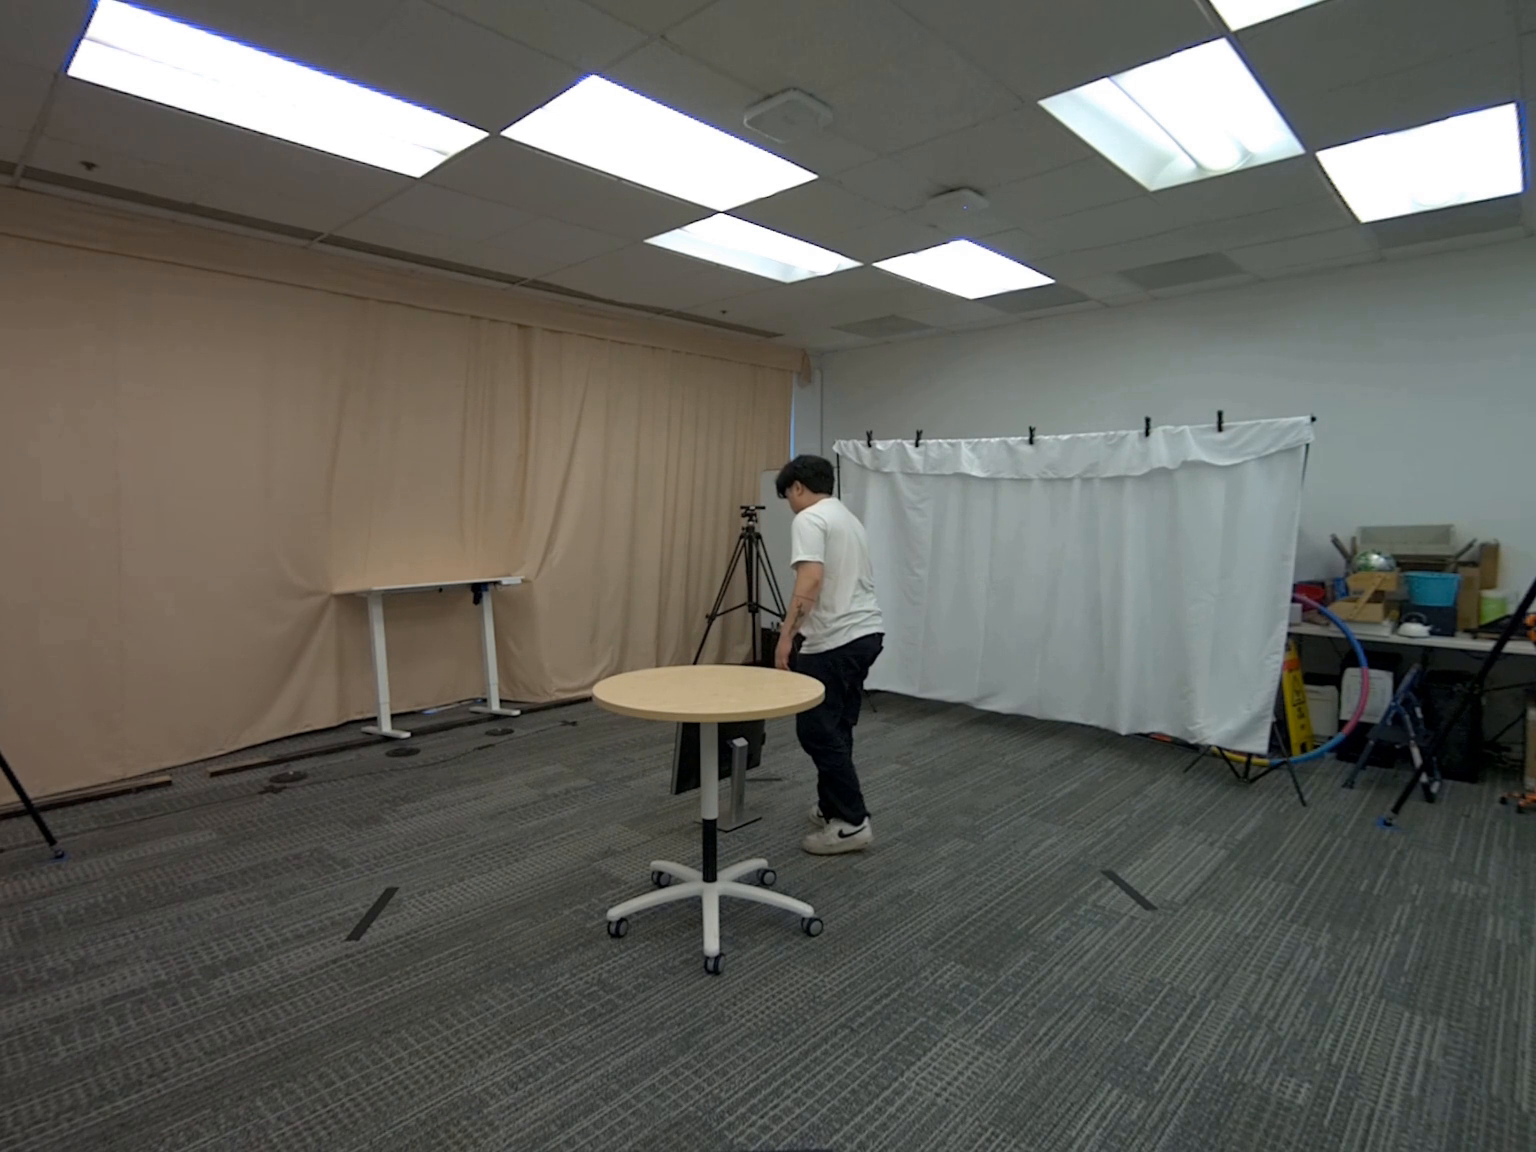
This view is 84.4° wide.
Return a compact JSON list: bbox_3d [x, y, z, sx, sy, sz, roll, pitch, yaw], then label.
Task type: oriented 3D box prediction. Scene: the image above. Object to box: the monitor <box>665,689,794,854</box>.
[{"bbox_3d":[-0.163,0.832,3.716,0.217,0.552,0.548,6,7,43],"label":"monitor"}]
